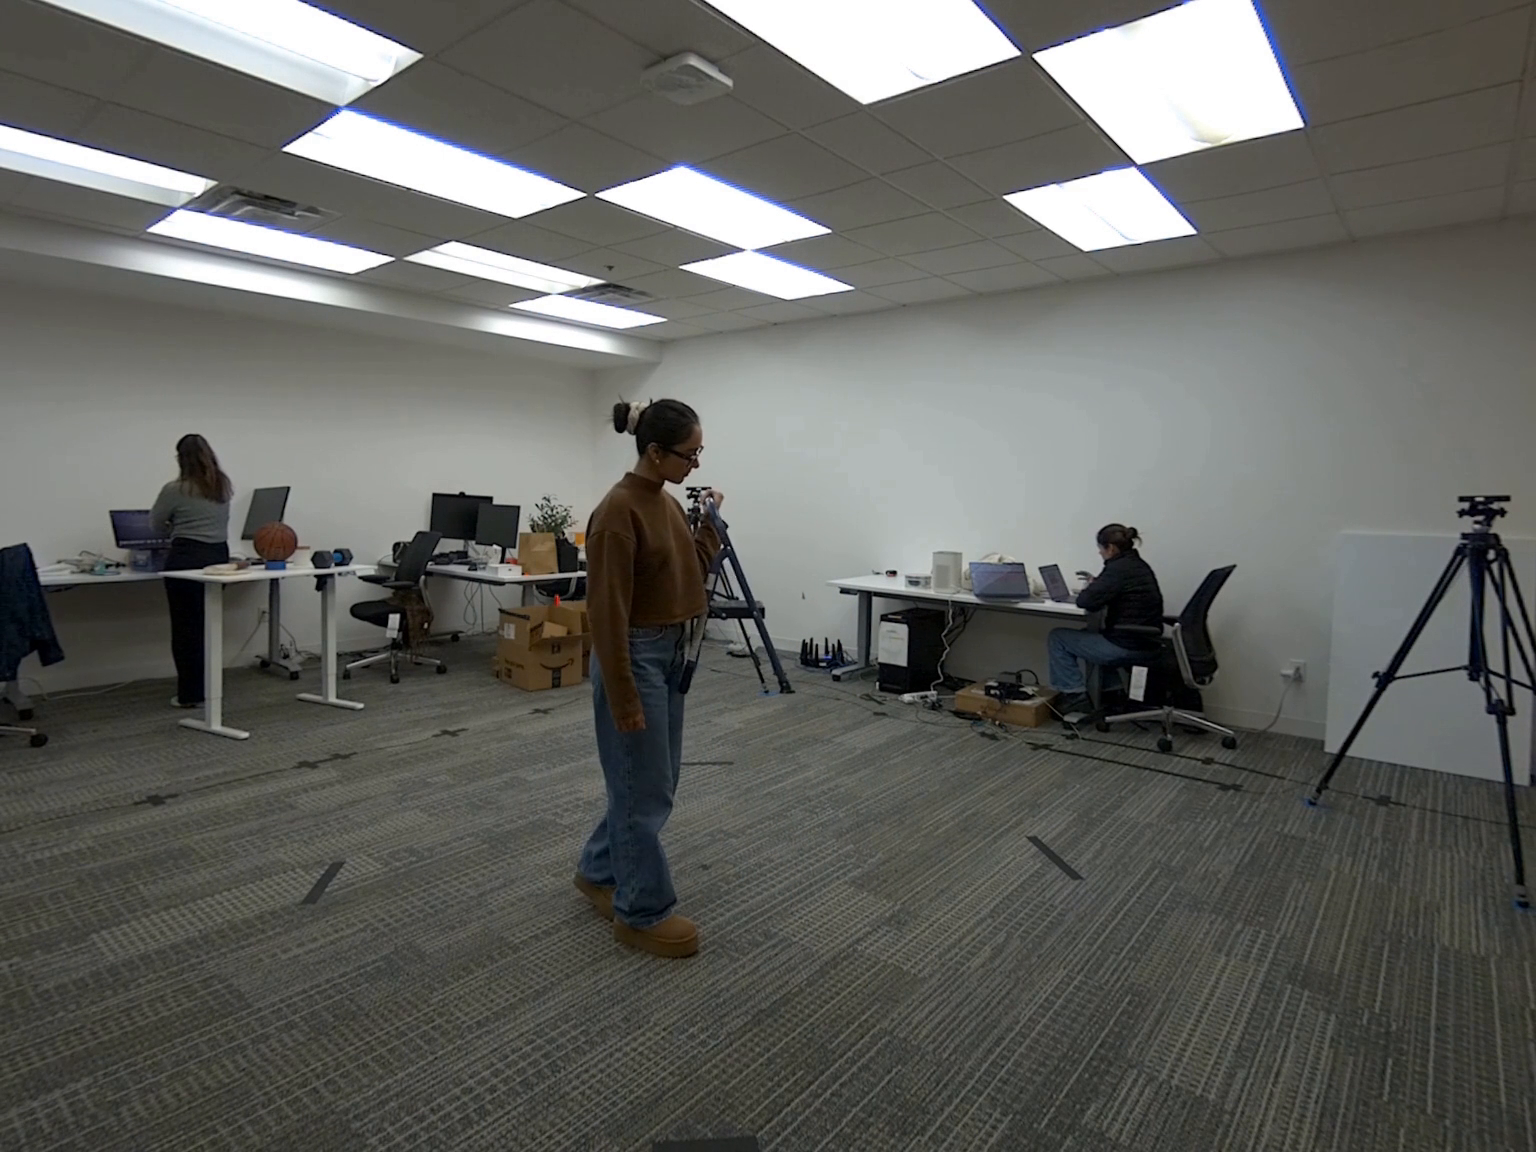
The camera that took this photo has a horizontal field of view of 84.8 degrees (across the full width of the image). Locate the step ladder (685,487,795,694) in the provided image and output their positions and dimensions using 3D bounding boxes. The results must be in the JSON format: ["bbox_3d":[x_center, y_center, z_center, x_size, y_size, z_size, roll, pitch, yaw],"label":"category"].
[{"bbox_3d":[-0.117,0.045,2.793,0.349,0.607,0.430,-1,-2,-2],"label":"step ladder"}]
